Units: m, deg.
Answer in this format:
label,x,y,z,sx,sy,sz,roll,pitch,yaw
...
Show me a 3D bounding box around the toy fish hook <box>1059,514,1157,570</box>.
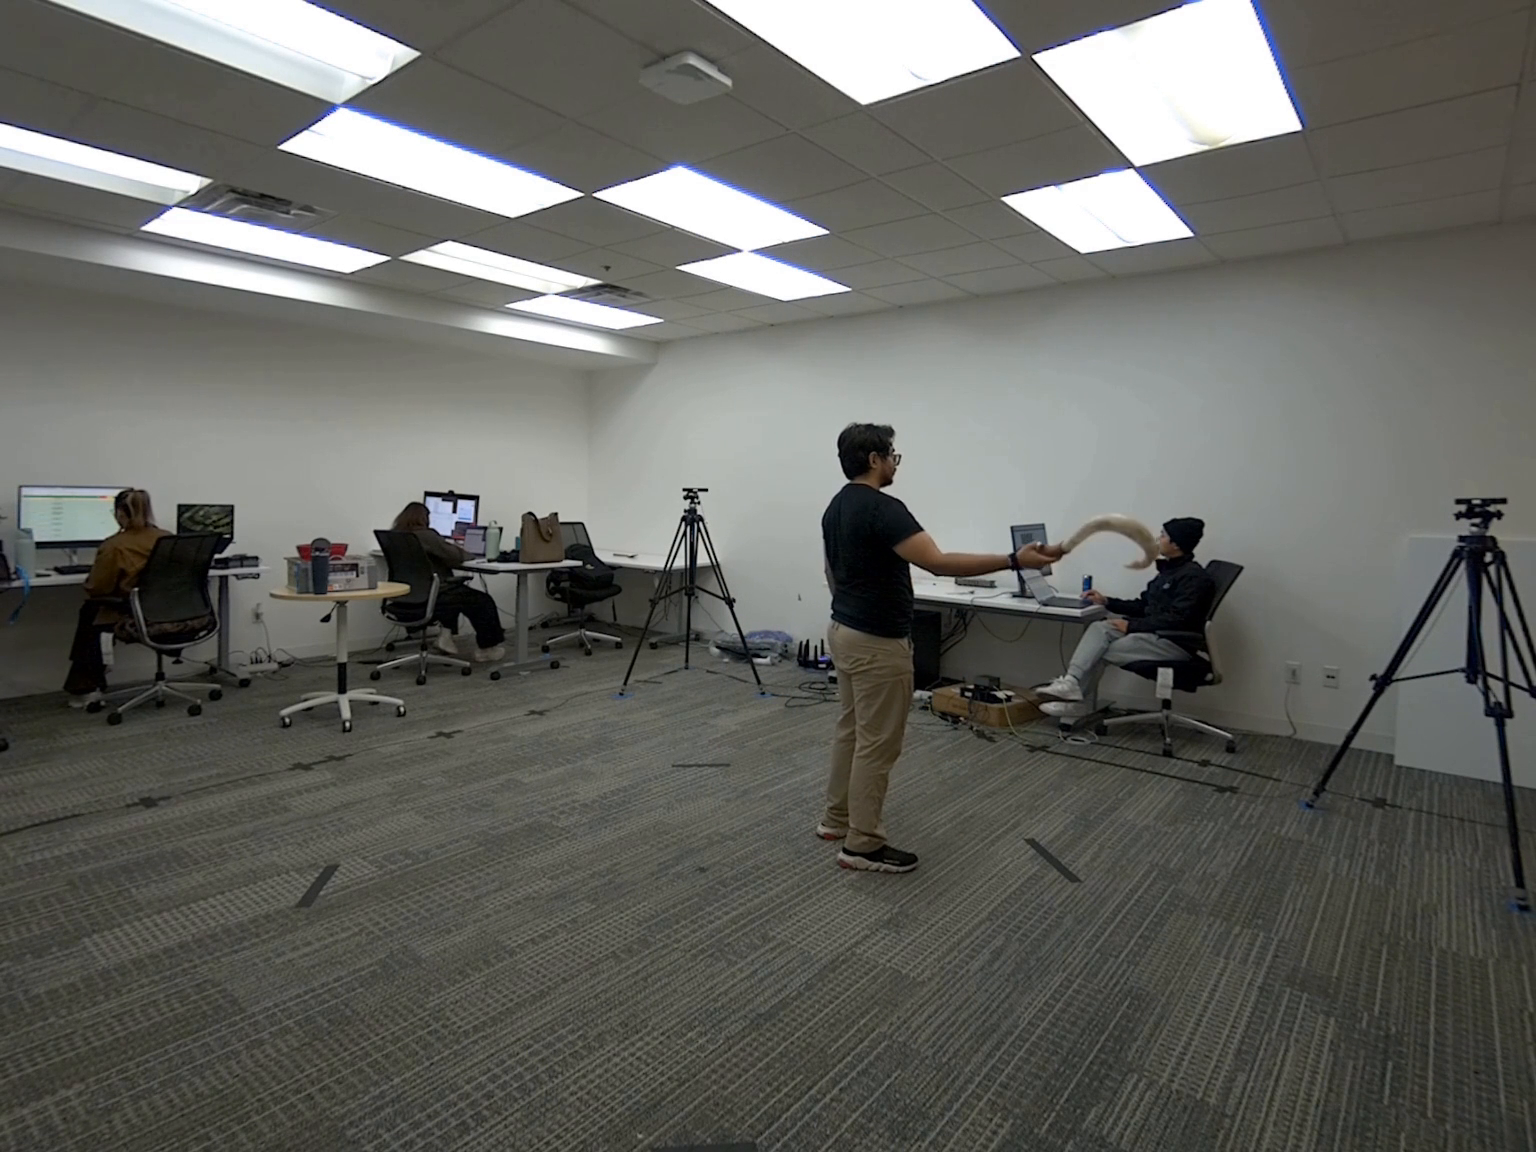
label,x,y,z,sx,sy,sz,roll,pitch,yaw
toy fish hook,0.981,-0.069,2.658,0.048,0.223,0.511,-45,7,-24
